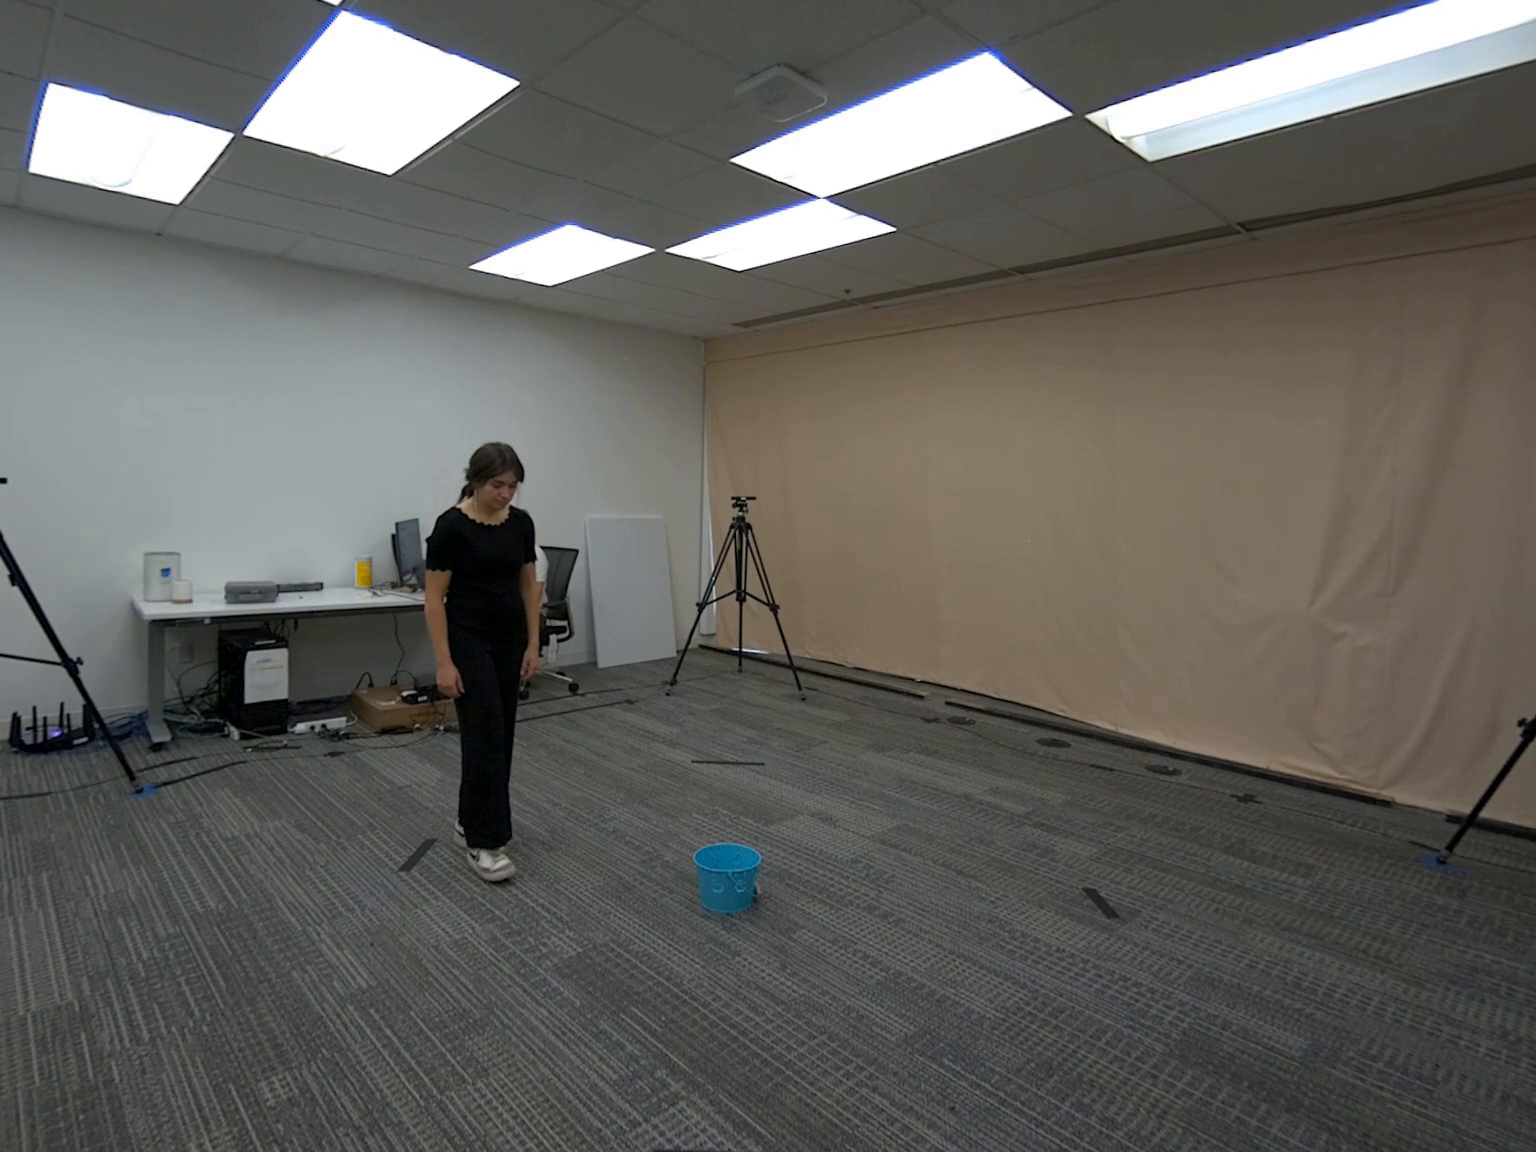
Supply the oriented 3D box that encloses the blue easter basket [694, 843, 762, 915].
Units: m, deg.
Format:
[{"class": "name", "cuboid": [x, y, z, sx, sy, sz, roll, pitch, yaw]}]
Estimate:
[{"class": "blue easter basket", "cuboid": [-0.143, 1.046, 2.906, 0.243, 0.155, 0.244, 1, 5, -1]}]
